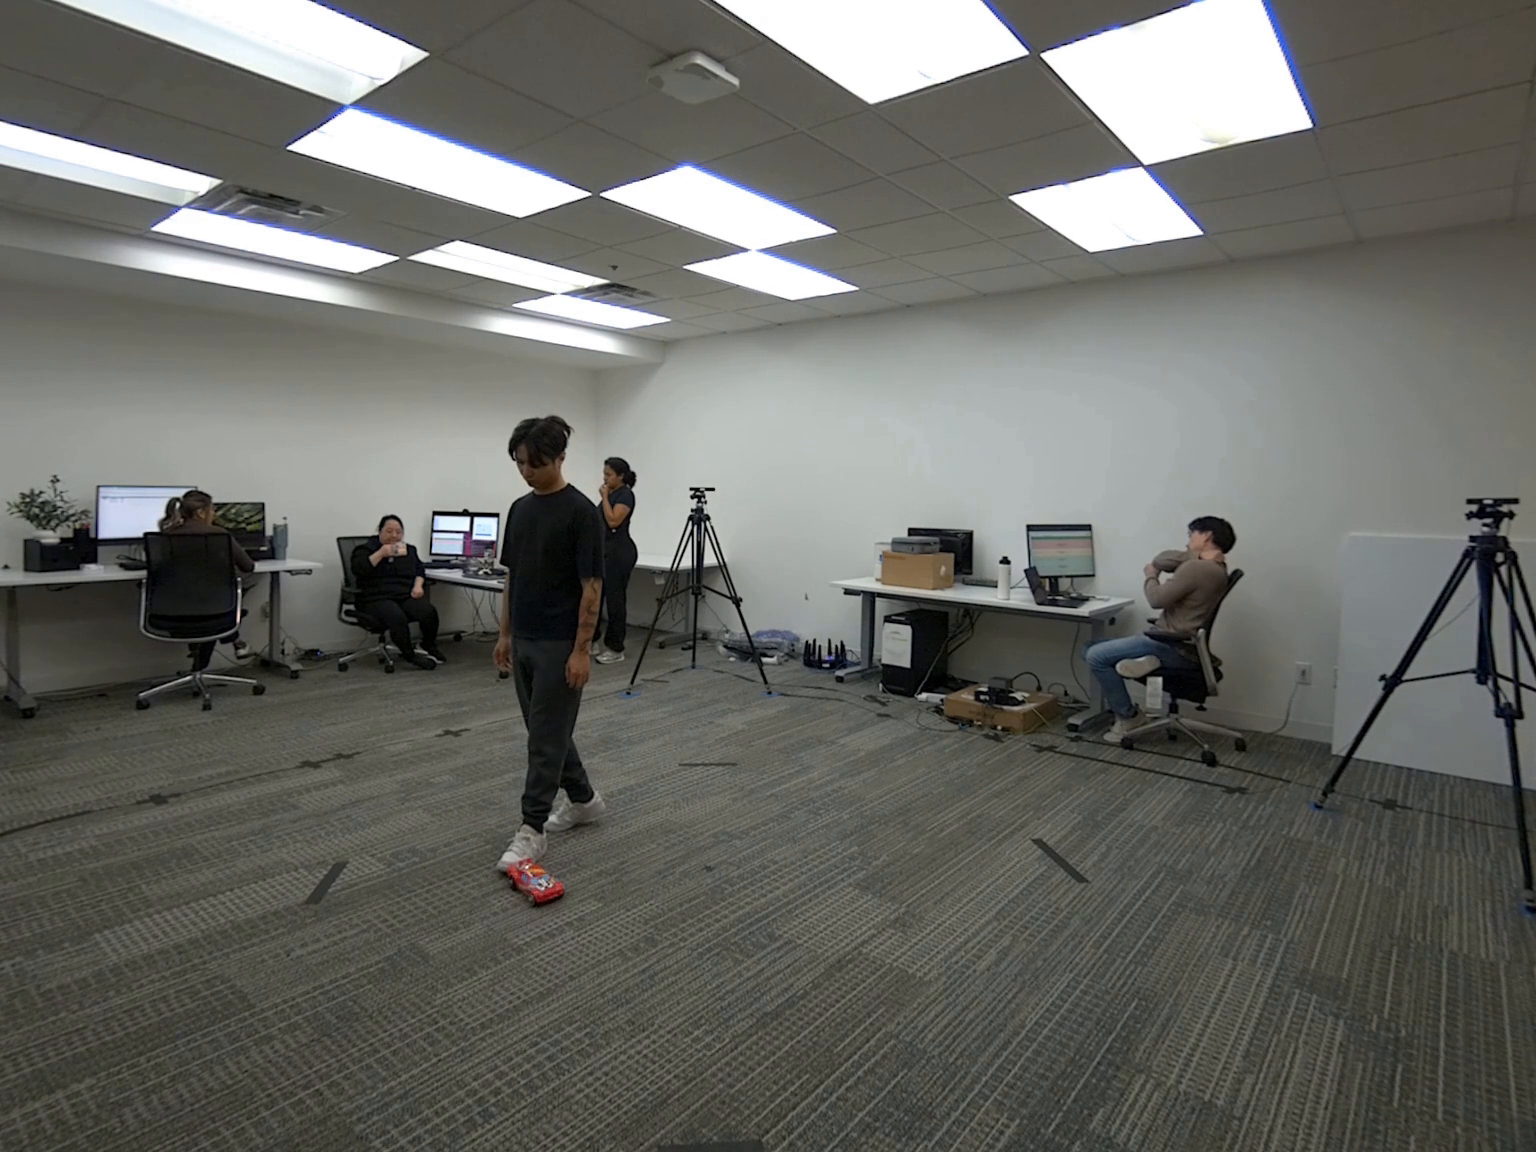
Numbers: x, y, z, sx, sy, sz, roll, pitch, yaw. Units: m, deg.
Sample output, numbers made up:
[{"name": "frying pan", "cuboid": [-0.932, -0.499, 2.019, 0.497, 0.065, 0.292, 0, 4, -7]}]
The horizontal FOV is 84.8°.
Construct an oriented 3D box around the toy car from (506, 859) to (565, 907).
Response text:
[{"name": "toy car", "cuboid": [-0.824, 1.049, 2.911, 0.126, 0.082, 0.265, -3, 17, -41]}]
